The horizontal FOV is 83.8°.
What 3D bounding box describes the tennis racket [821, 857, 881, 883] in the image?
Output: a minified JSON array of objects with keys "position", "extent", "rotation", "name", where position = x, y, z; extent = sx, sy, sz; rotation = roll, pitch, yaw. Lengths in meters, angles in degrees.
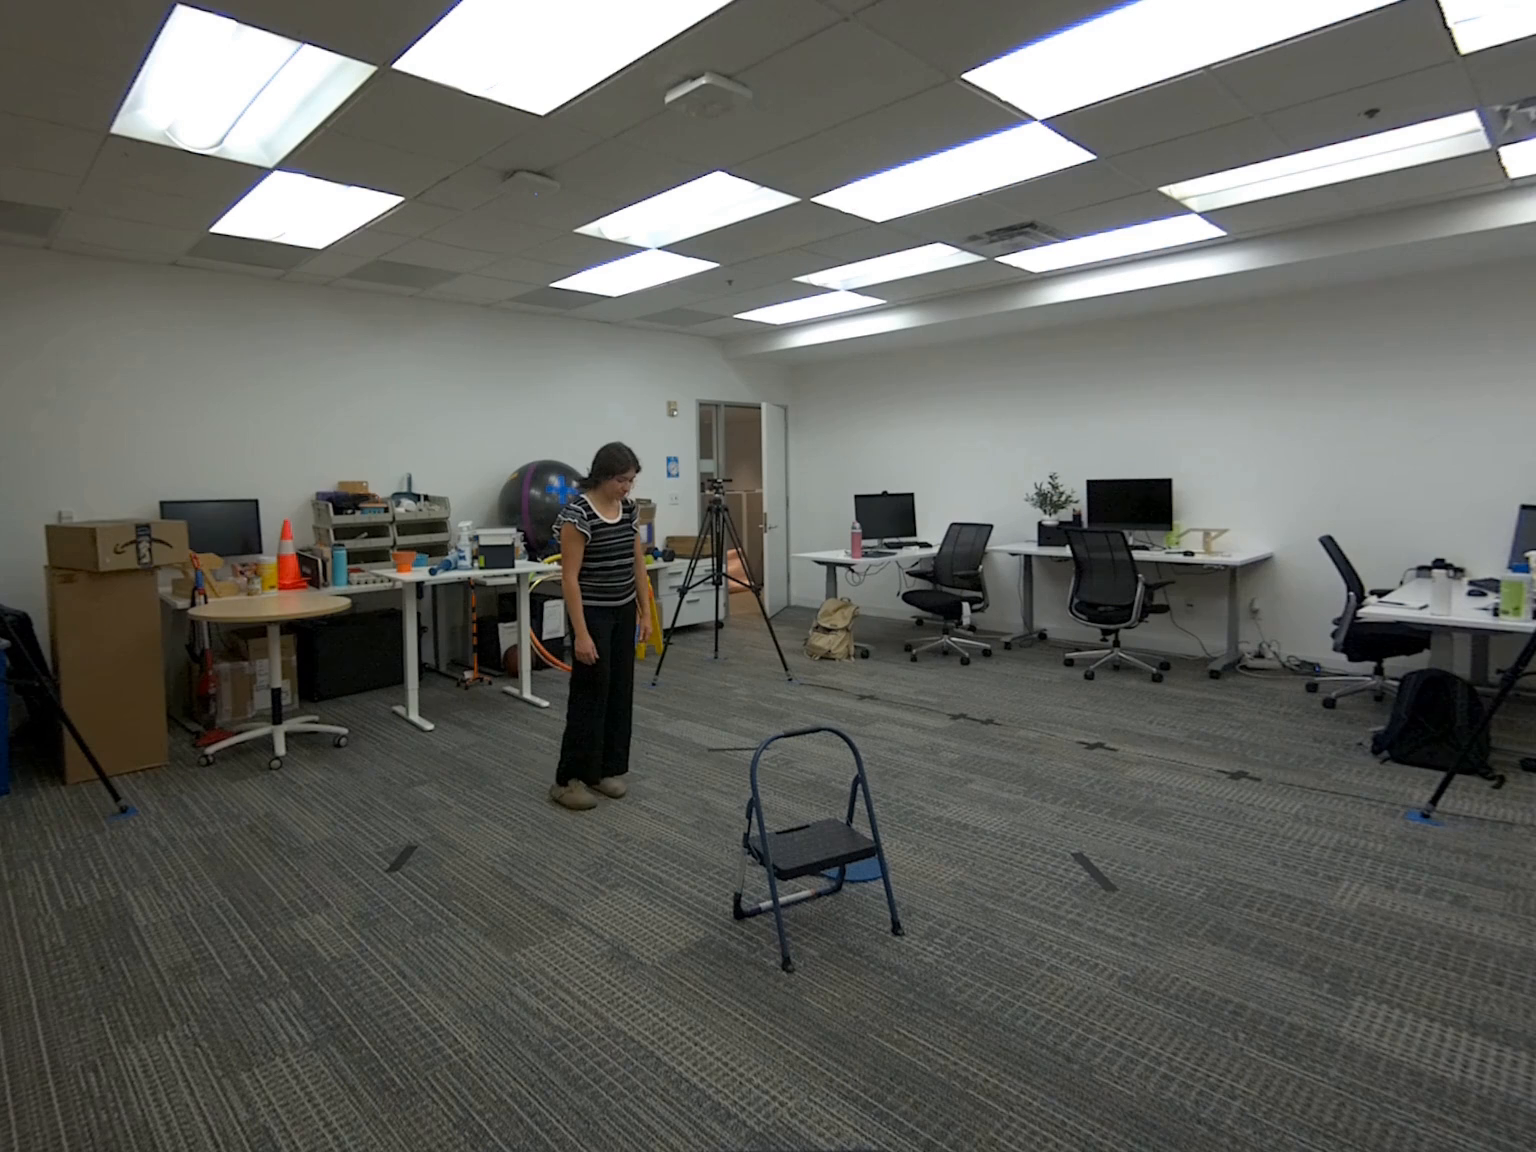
[{"position":[0.223,1.036,3.035],"extent":[0.429,0.031,0.216],"rotation":[-1,5,-10],"name":"tennis racket"}]
